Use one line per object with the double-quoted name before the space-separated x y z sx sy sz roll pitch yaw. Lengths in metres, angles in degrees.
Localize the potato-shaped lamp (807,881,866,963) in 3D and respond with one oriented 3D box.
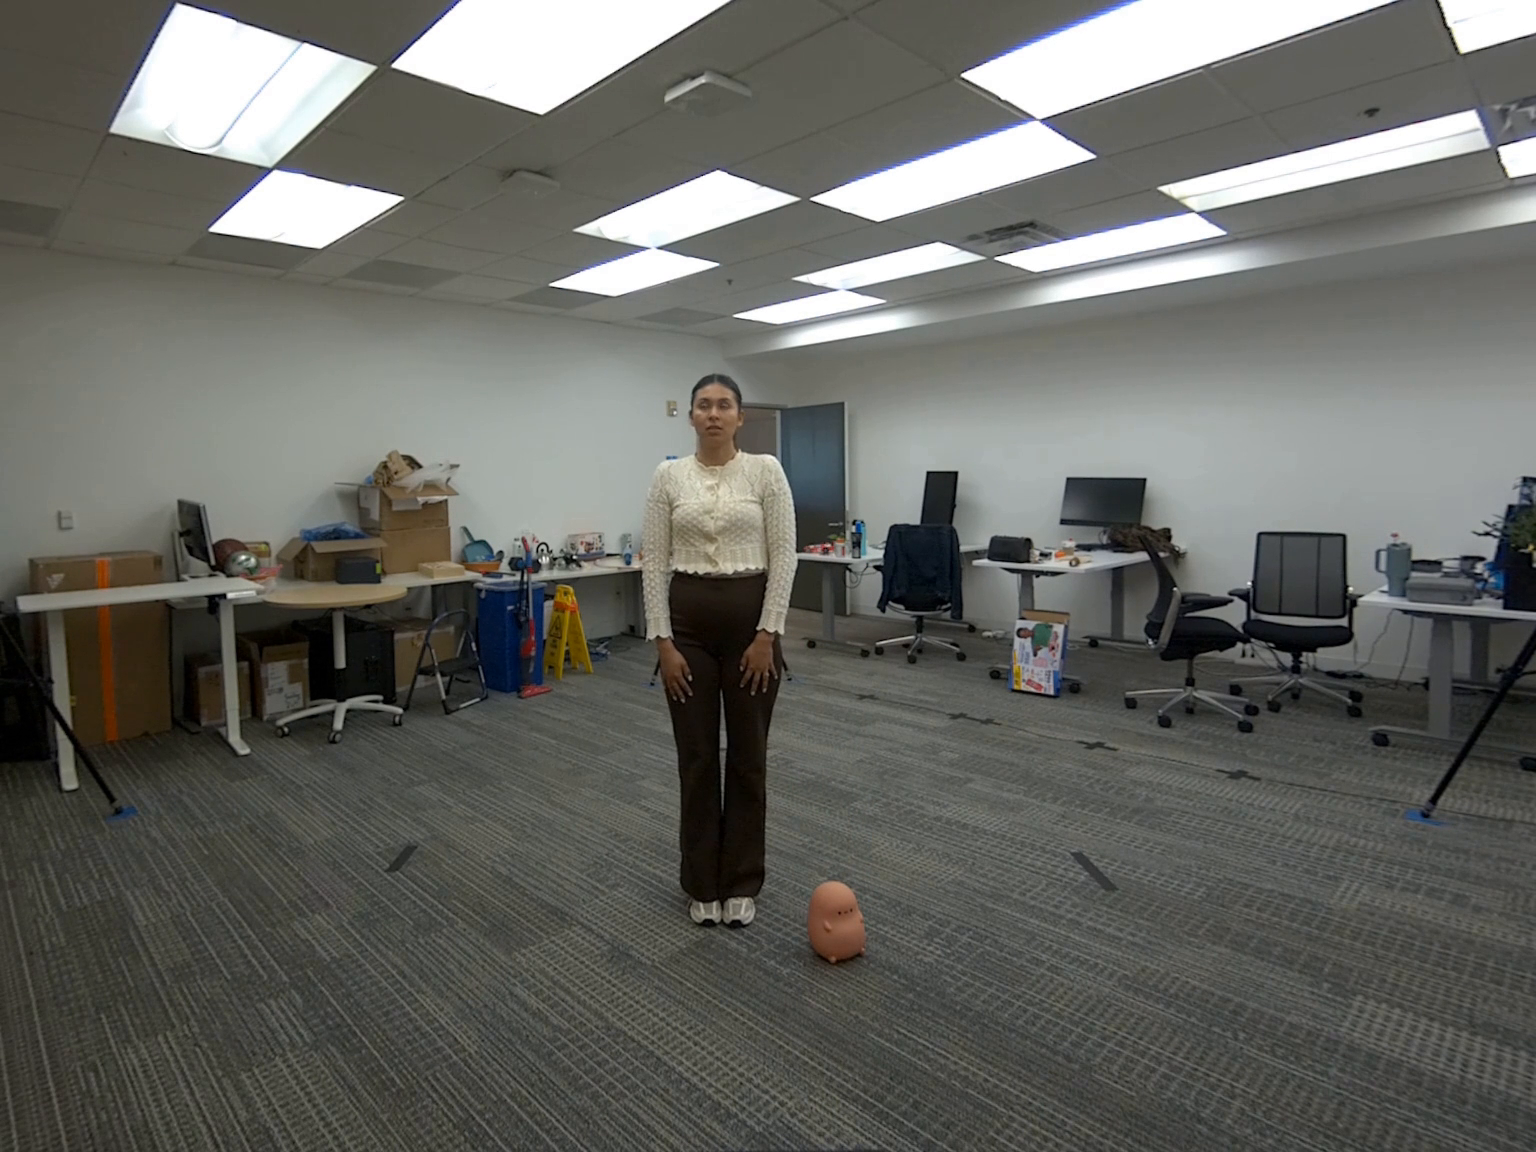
"potato-shaped lamp" 0.200 1.004 2.519 0.161 0.197 0.176 -5 5 -26
